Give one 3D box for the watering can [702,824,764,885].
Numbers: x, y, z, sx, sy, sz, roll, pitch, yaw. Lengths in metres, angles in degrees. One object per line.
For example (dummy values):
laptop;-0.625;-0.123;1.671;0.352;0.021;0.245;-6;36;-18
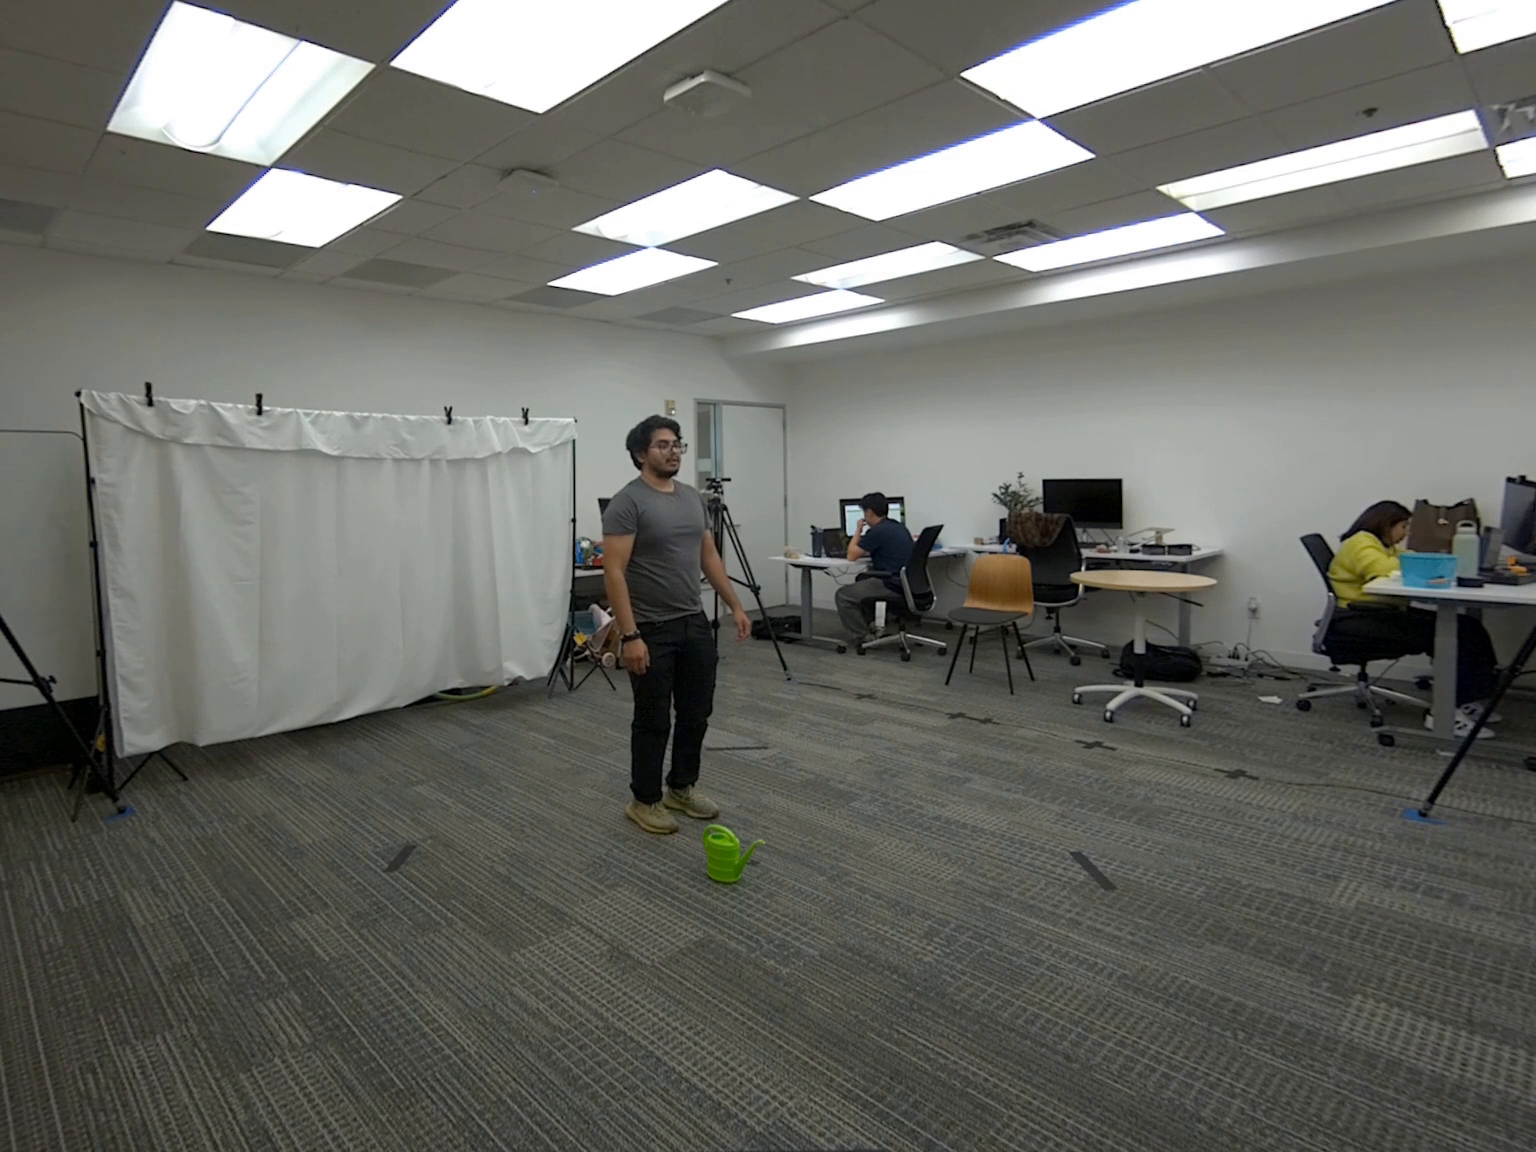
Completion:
watering can;-0.128;0.968;2.957;0.095;0.176;0.286;-6;6;-35
